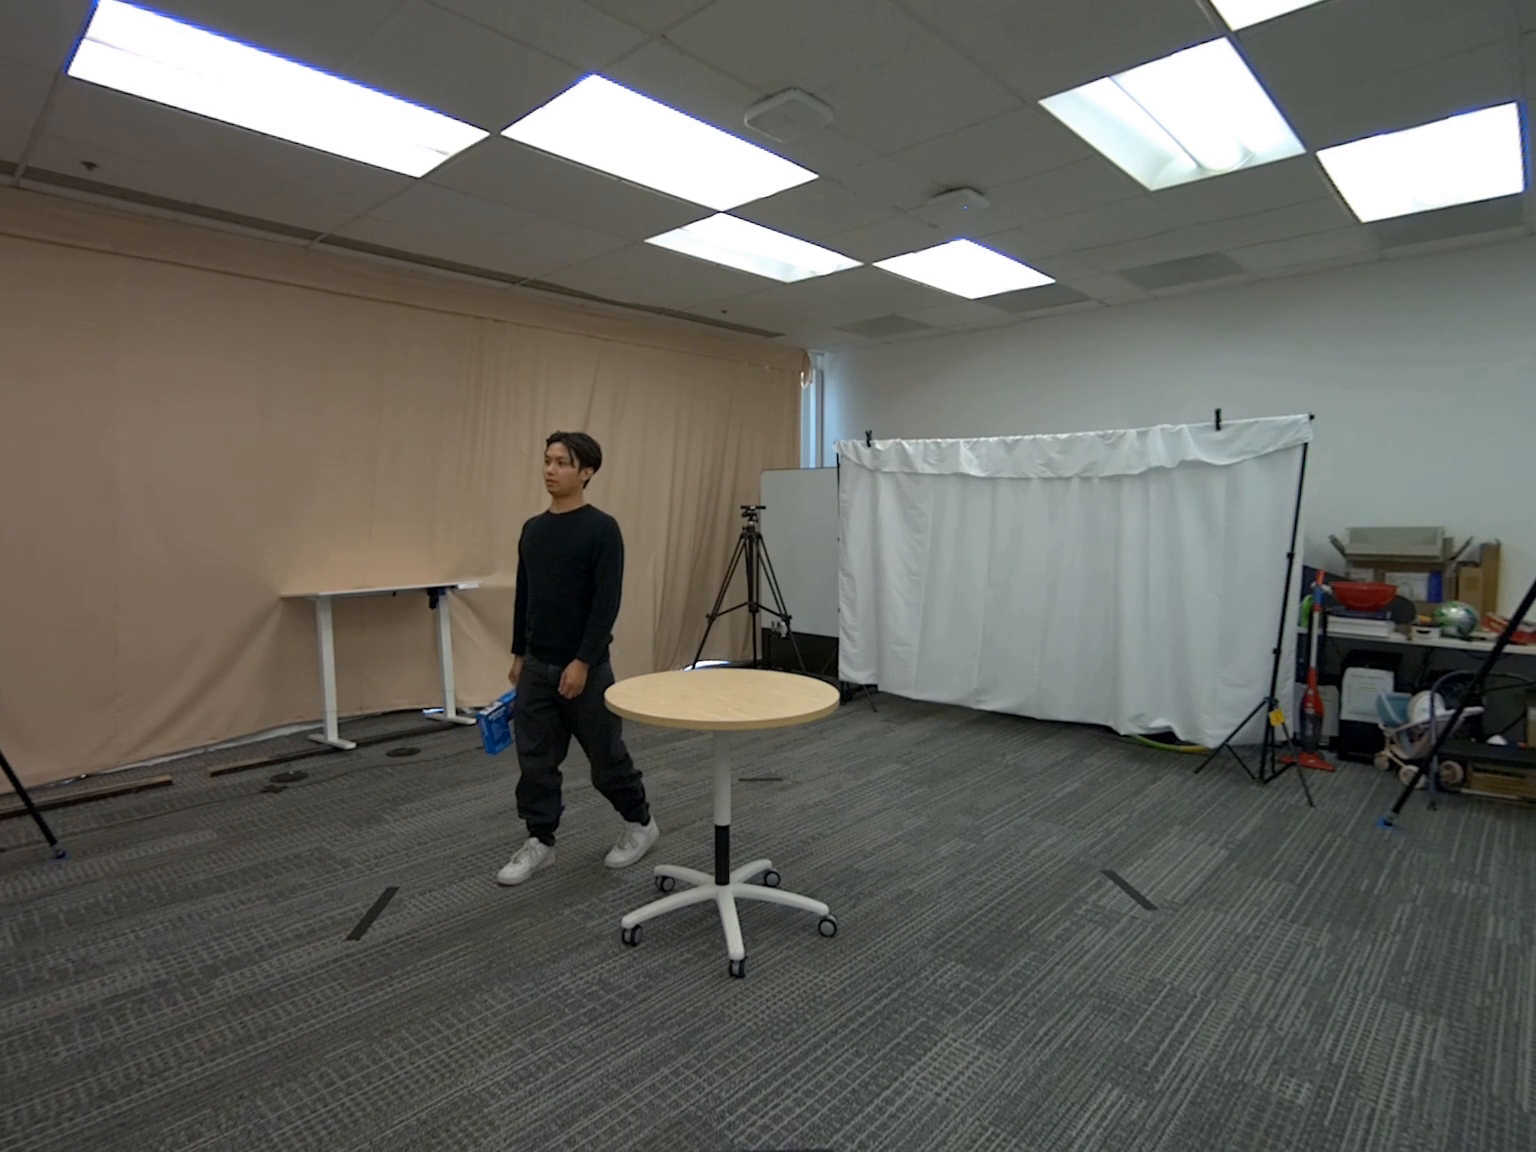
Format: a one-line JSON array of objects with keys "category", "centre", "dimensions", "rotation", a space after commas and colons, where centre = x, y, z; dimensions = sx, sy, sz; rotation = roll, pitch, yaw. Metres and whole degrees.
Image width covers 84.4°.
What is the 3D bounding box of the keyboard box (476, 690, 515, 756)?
[{"category": "keyboard box", "centre": [-0.972, 0.531, 3.383], "dimensions": [0.061, 0.173, 0.430], "rotation": [2, 21, 28]}]
